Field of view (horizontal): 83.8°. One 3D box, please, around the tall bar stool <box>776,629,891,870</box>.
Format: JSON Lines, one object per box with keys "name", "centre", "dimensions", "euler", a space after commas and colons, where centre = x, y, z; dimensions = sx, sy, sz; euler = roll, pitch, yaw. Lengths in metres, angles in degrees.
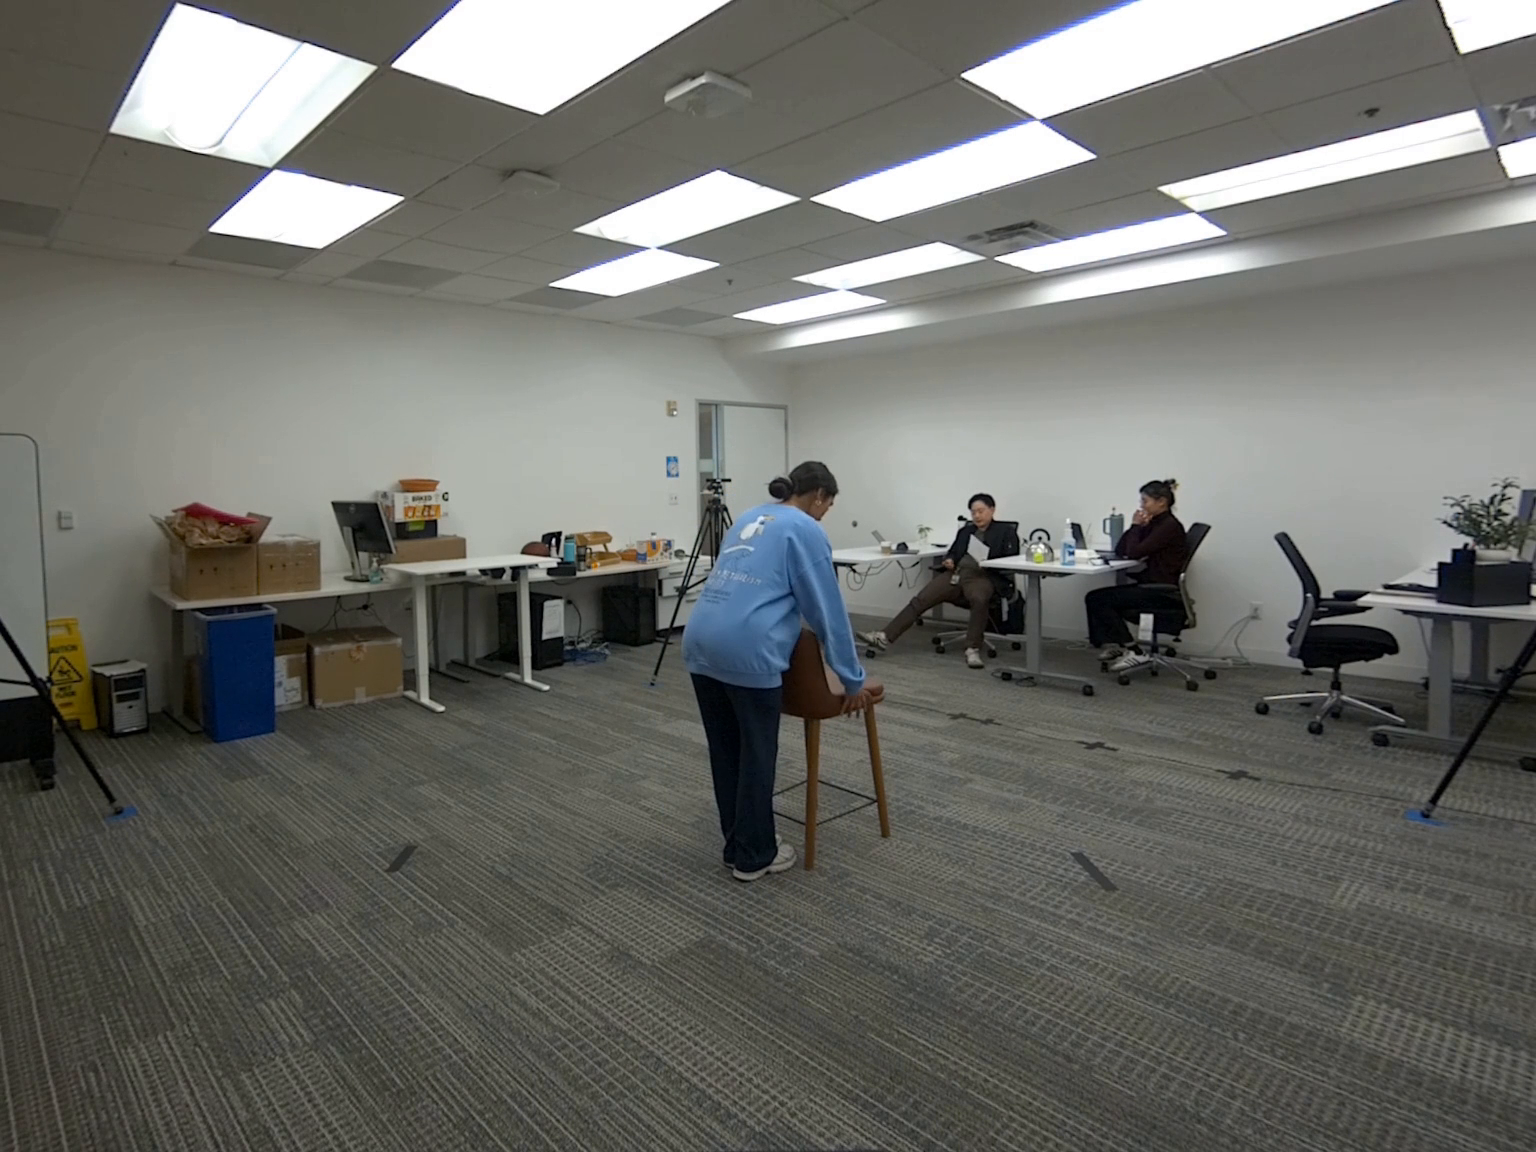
{"name": "tall bar stool", "centre": [0.167, 0.584, 3.293], "dimensions": [0.456, 0.885, 0.470], "euler": [-7, 8, -43]}
